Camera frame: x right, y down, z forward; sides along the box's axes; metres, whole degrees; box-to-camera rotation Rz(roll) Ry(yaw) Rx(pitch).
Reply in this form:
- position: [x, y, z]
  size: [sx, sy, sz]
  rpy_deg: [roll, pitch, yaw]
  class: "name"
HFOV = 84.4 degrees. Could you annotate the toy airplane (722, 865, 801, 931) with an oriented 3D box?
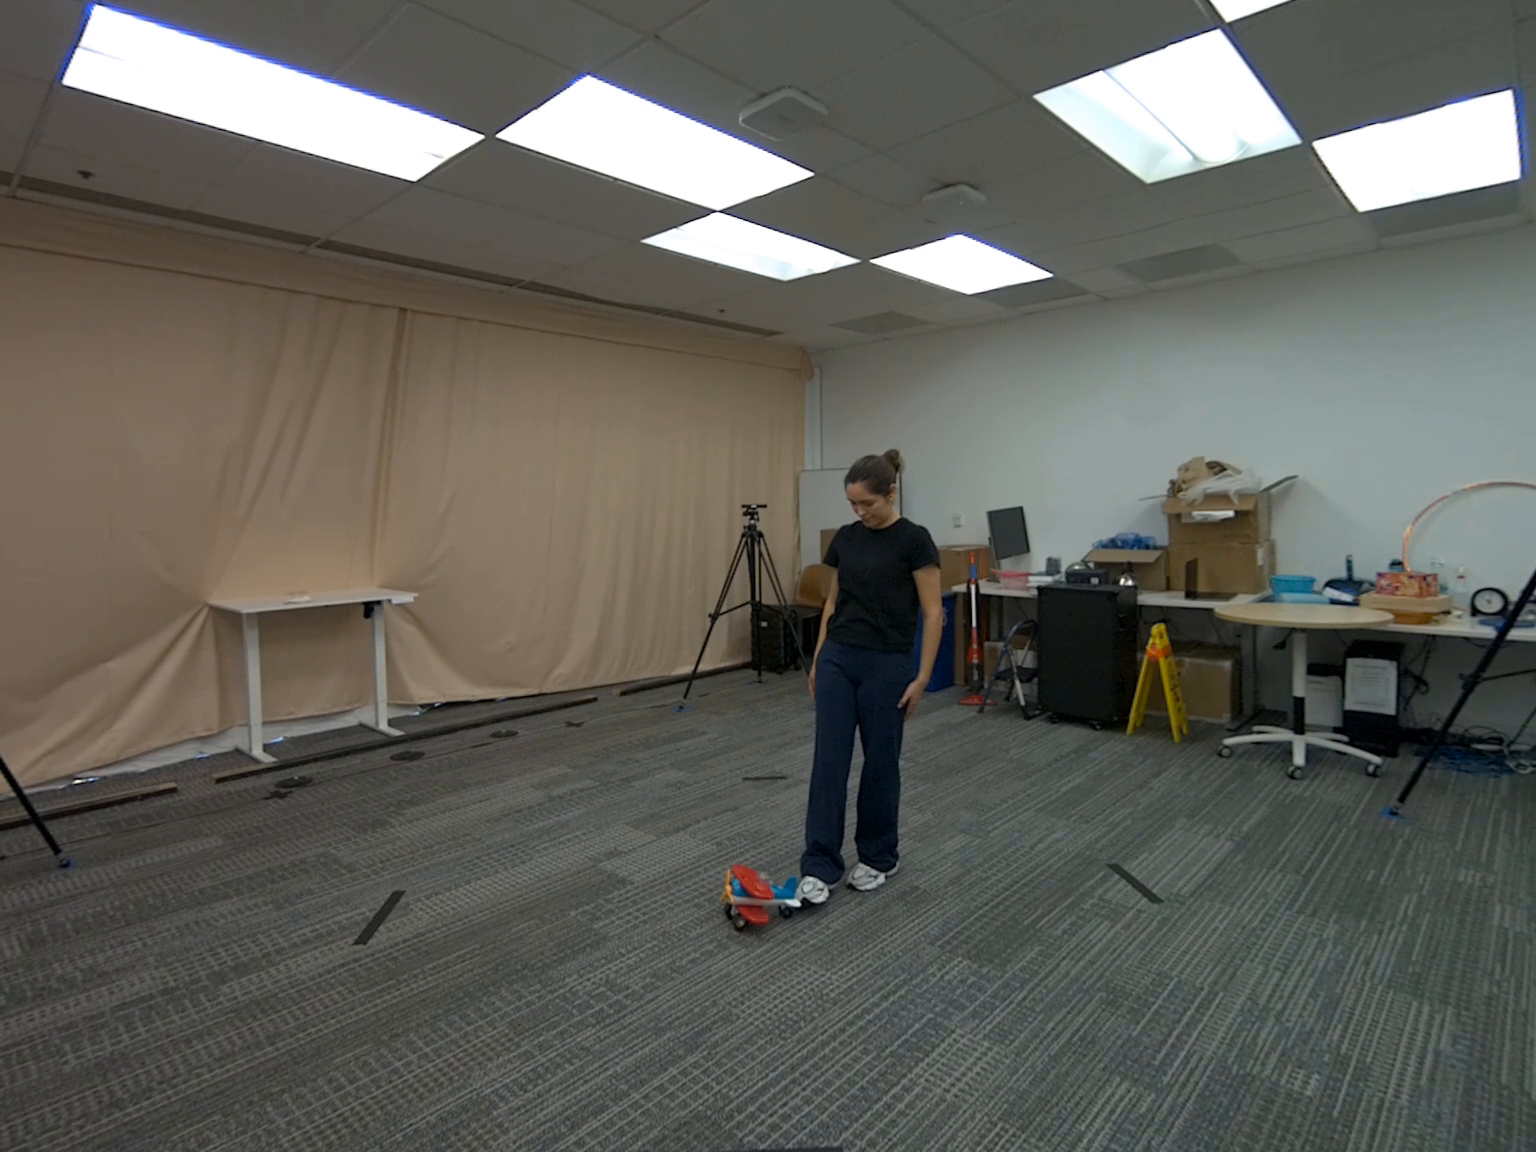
- position: [-0.016, 1.075, 2.836]
  size: [0.259, 0.156, 0.251]
  rpy_deg: [2, 6, 44]
  class: "toy airplane"
